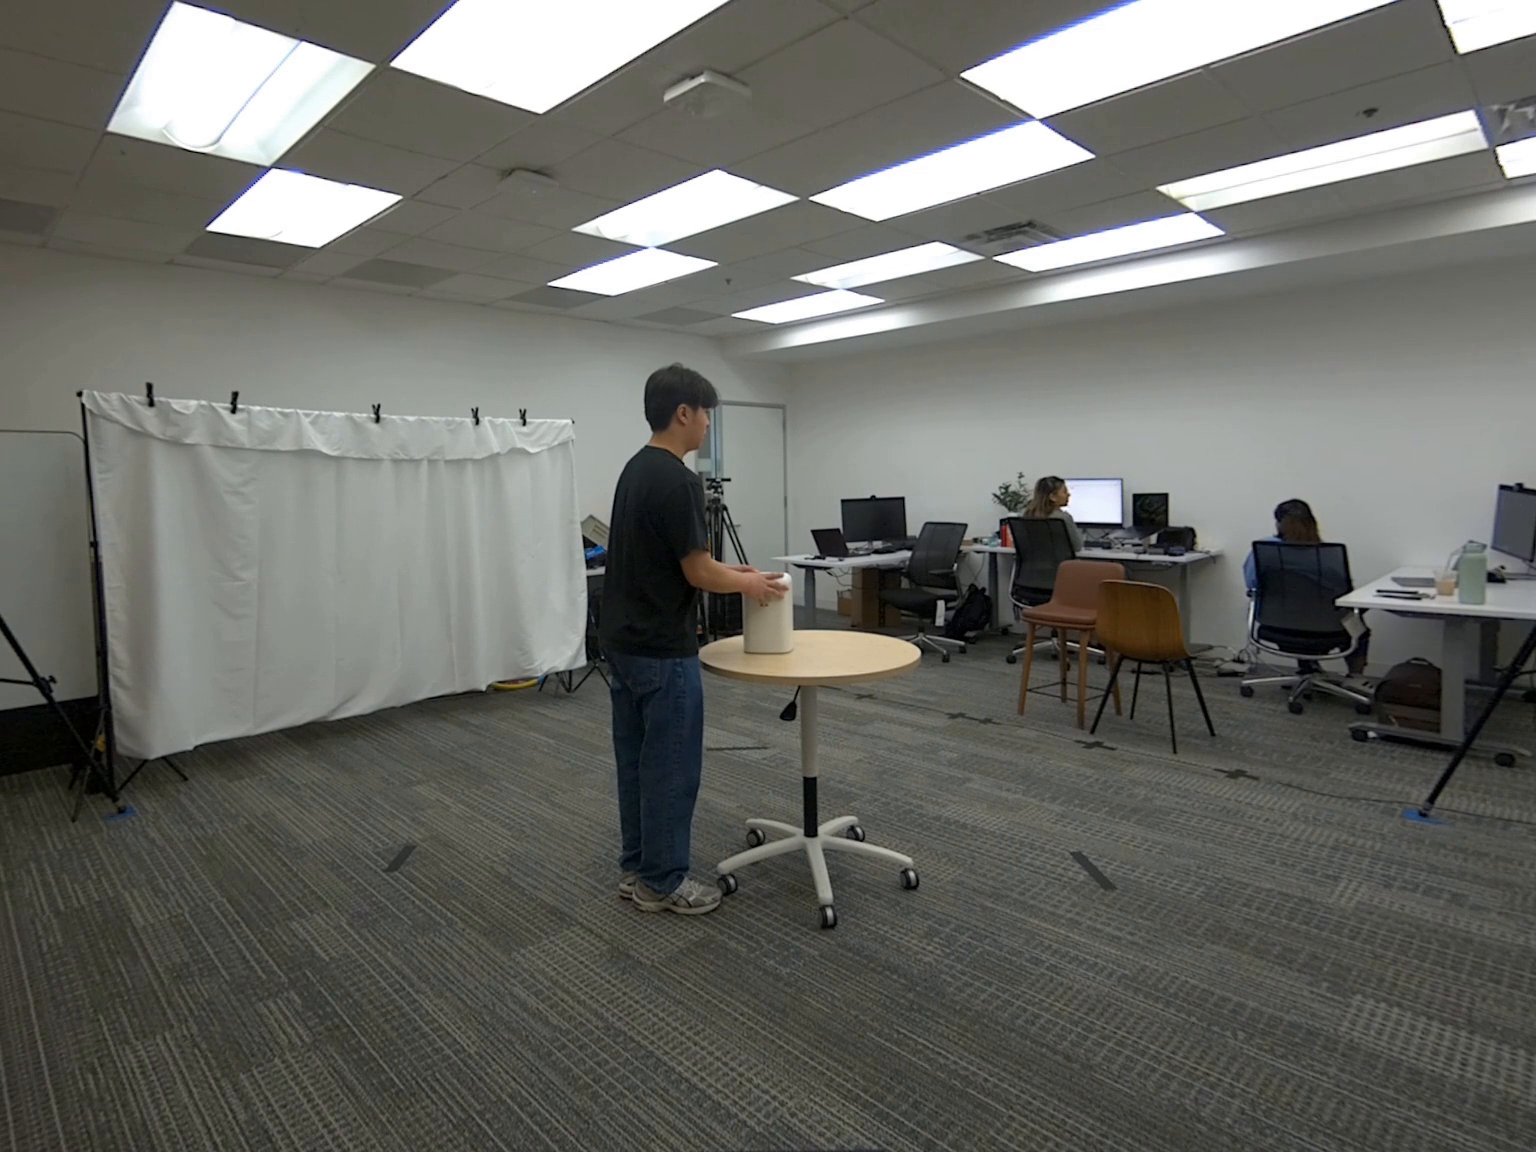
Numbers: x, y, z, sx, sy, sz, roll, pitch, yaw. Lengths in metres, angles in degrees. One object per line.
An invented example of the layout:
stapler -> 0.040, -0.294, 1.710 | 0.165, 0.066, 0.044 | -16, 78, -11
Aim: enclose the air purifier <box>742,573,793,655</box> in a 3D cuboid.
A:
air purifier -> -0.003, 0.128, 2.996 | 0.173, 0.264, 0.170 | -1, 4, 10
